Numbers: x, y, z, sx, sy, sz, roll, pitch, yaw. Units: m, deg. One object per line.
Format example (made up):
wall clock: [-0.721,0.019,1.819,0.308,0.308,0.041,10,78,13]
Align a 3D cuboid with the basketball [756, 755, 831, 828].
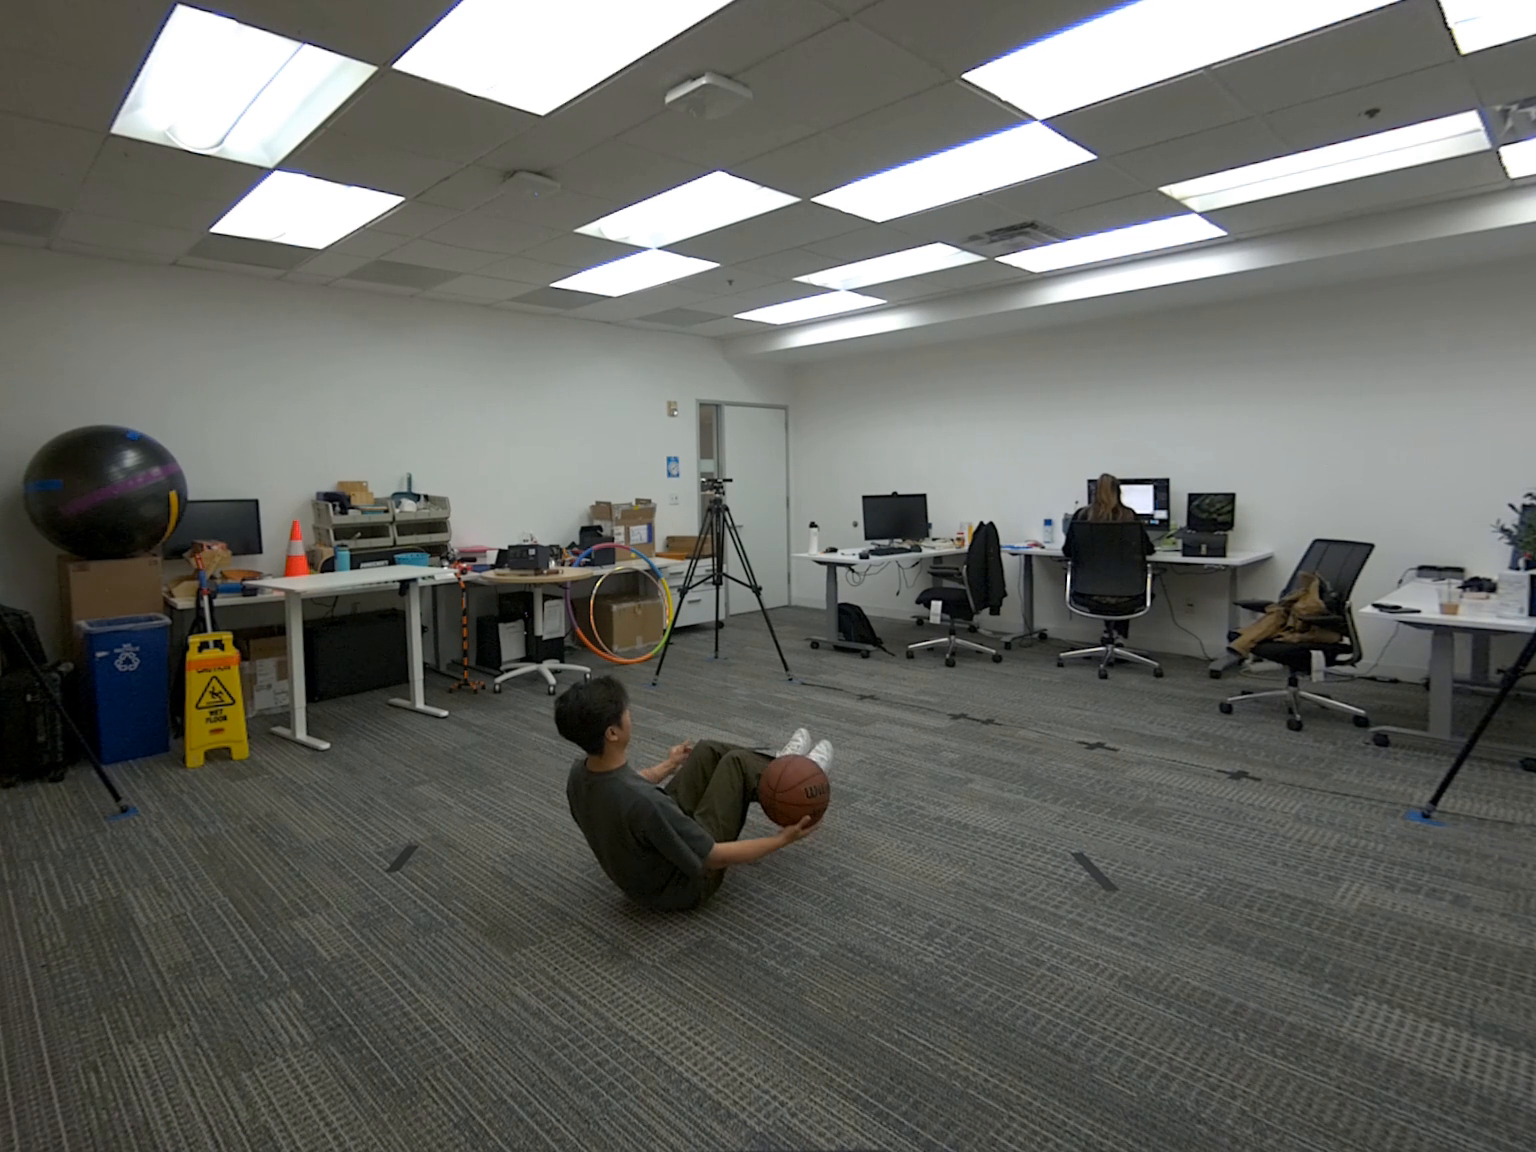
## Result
basketball: [0.082,0.706,2.834,0.236,0.235,0.237,-1,5,-2]
